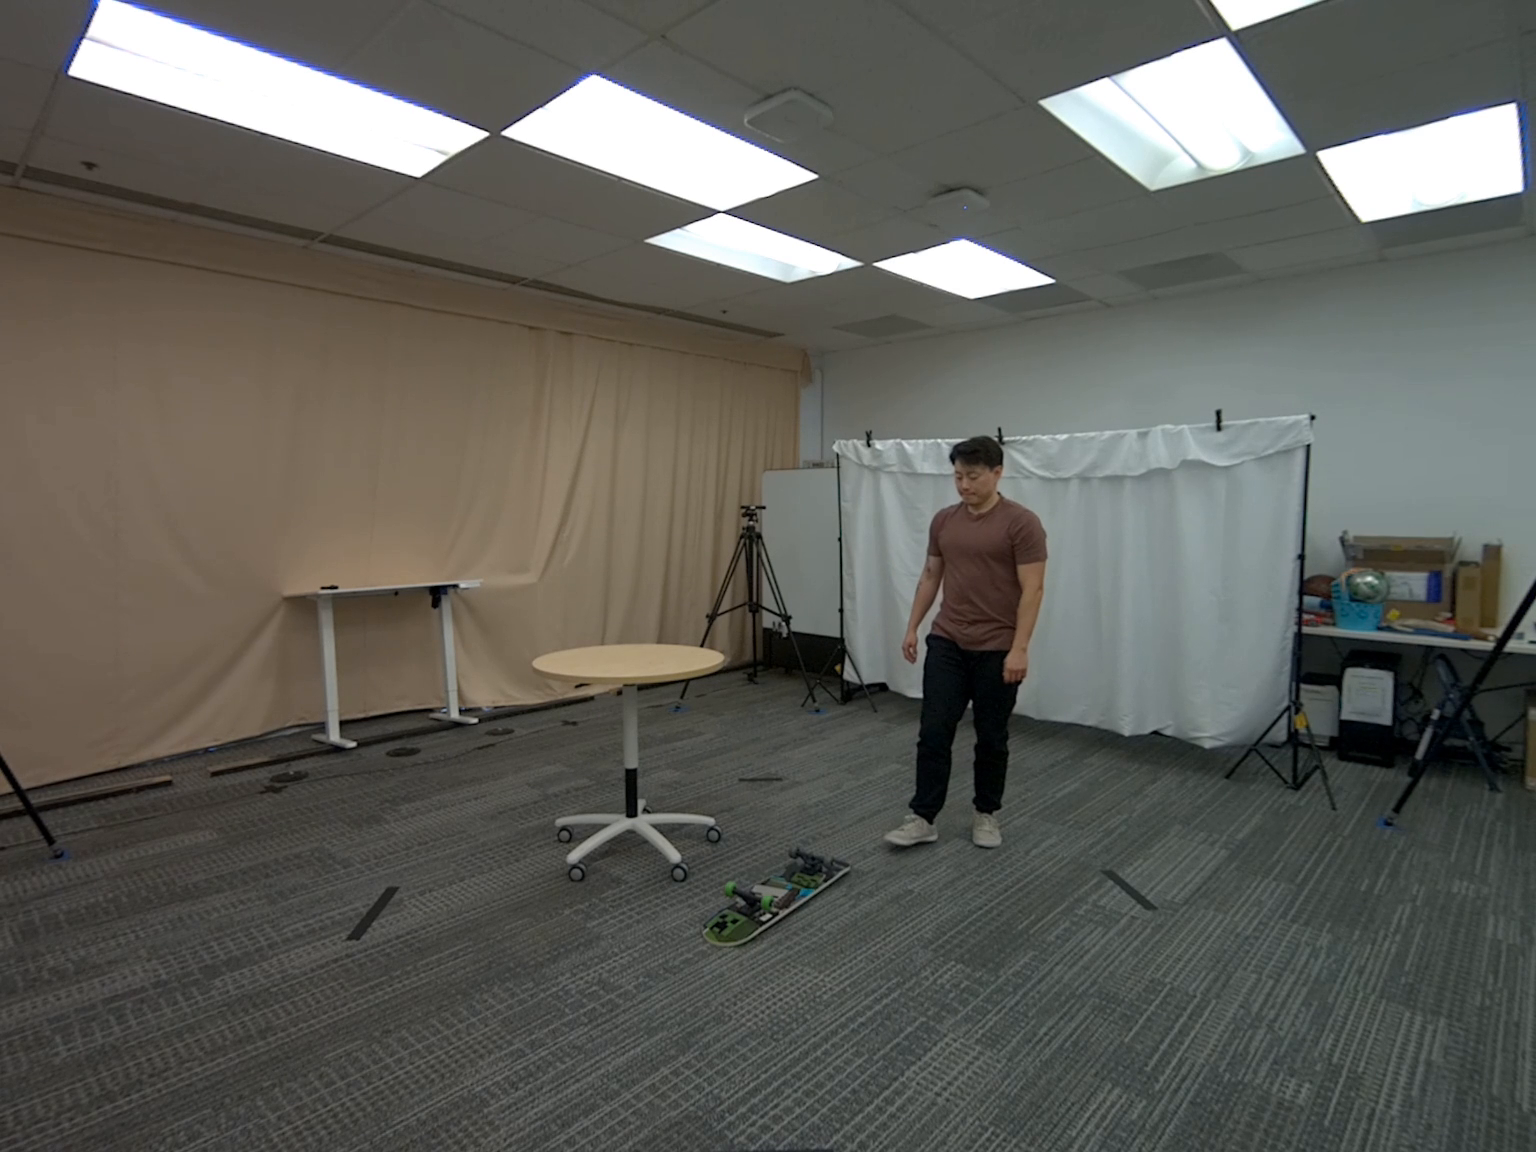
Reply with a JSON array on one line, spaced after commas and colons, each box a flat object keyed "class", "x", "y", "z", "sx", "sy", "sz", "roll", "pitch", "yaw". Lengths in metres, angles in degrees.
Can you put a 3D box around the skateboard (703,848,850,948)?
[{"class": "skateboard", "x": 0.054, "y": 1.091, "z": 2.978, "sx": 0.199, "sy": 0.110, "sz": 0.762, "roll": 2, "pitch": 5, "yaw": 36}]
